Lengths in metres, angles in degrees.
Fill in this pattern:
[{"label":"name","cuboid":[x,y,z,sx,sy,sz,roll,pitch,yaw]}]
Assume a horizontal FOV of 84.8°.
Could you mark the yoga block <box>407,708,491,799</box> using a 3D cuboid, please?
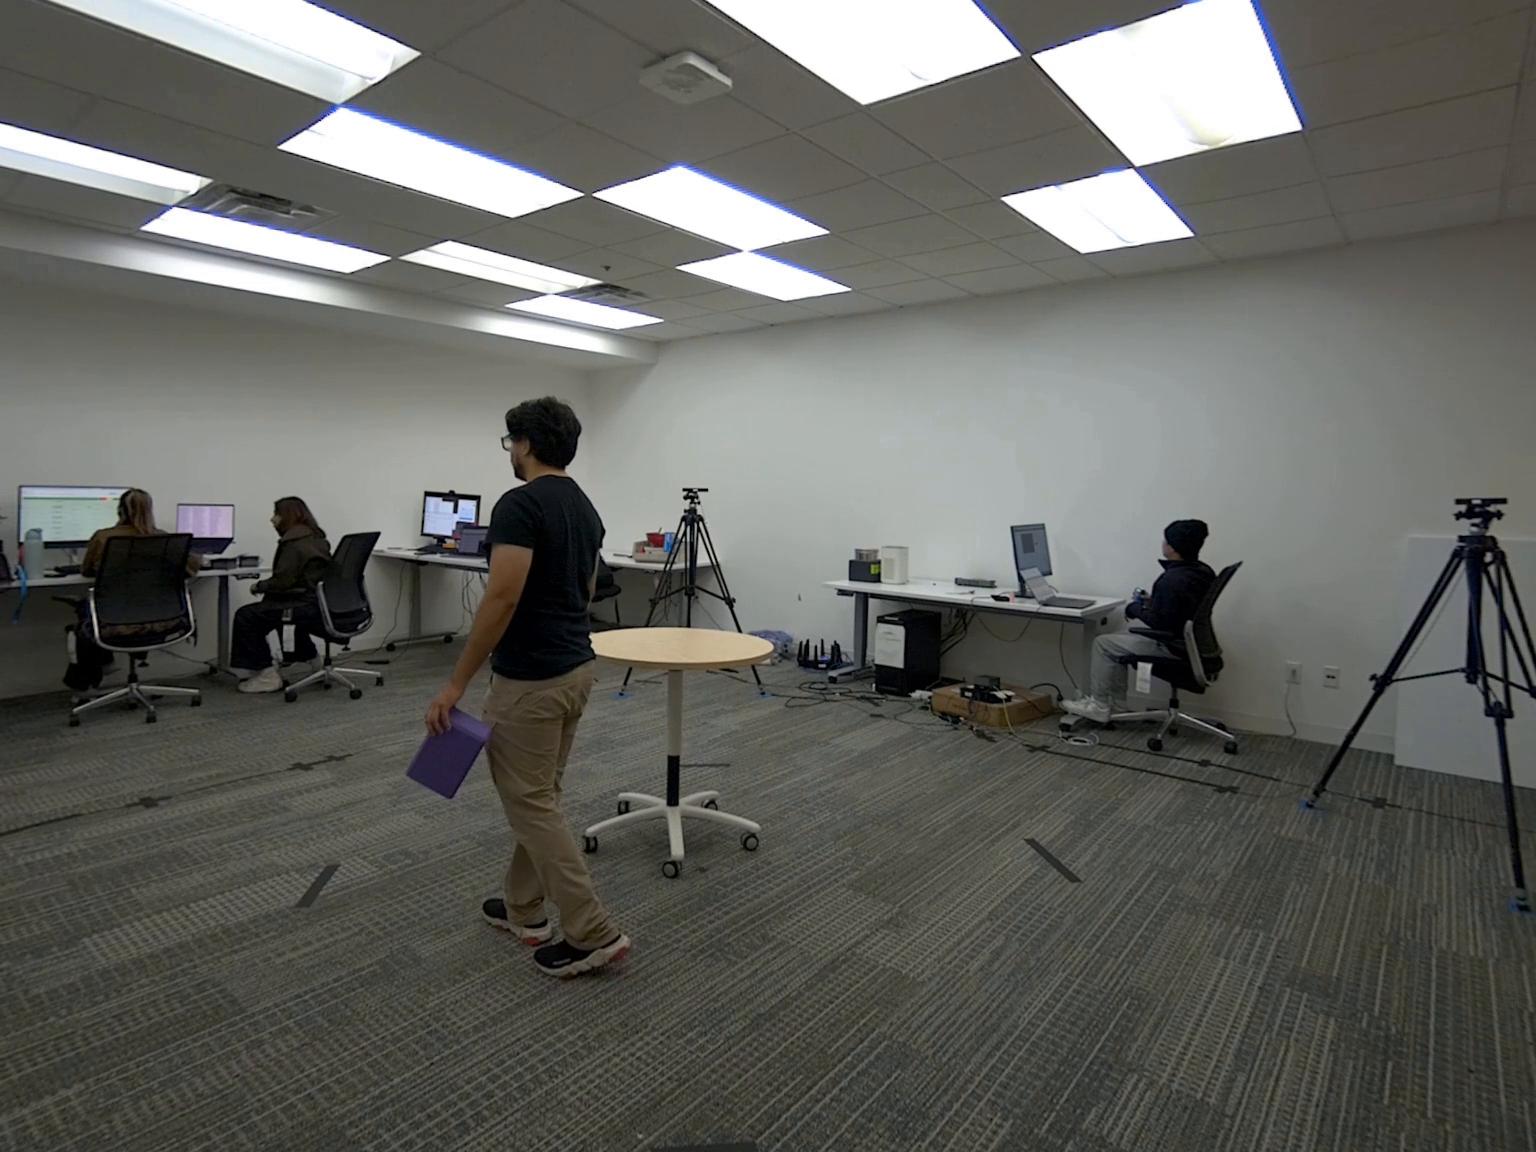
[{"label":"yoga block","cuboid":[-0.896,0.484,2.339,0.147,0.228,0.077,32,16,-7]}]
